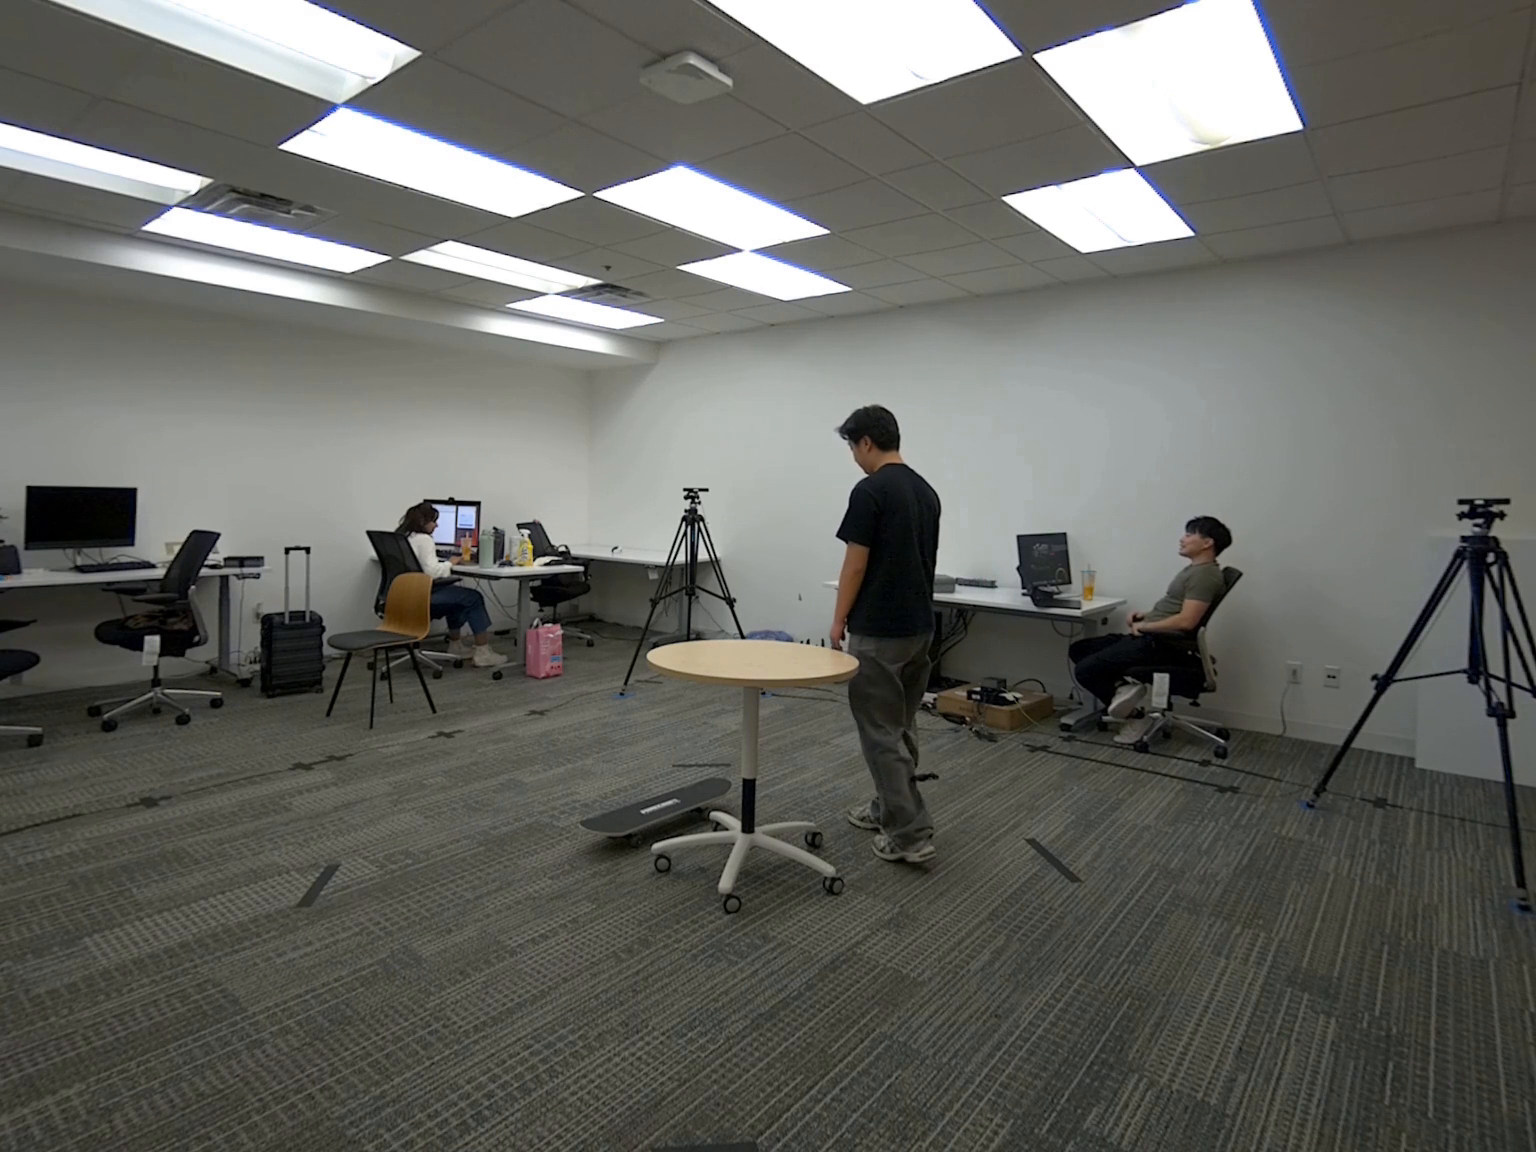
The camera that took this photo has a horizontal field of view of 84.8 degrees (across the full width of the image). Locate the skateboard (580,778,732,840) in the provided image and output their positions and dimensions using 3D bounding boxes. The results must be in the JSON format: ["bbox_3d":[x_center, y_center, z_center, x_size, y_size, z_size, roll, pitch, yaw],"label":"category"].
[{"bbox_3d":[-0.449,0.980,3.500,0.200,0.110,0.762,6,8,41],"label":"skateboard"}]
